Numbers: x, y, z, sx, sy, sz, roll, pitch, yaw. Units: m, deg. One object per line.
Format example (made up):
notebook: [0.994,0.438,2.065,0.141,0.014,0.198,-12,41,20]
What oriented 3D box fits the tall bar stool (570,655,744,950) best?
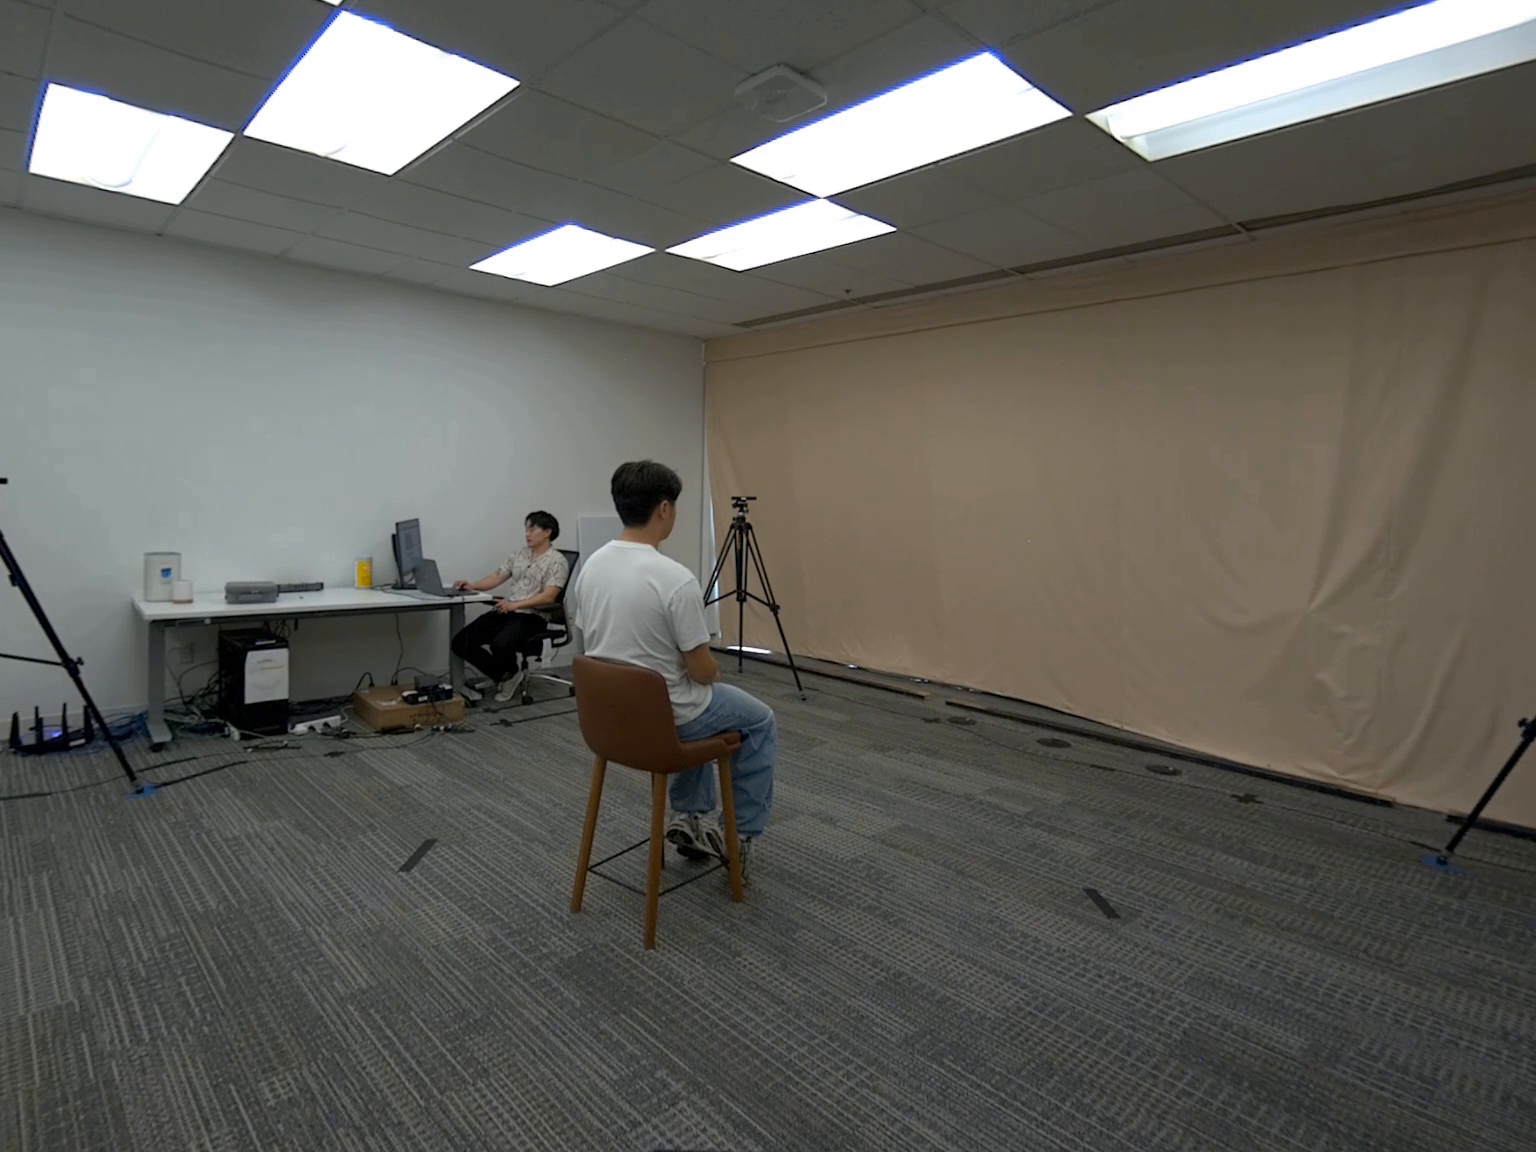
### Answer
tall bar stool: [-0.389,0.692,2.837,0.467,0.887,0.458,2,6,38]
